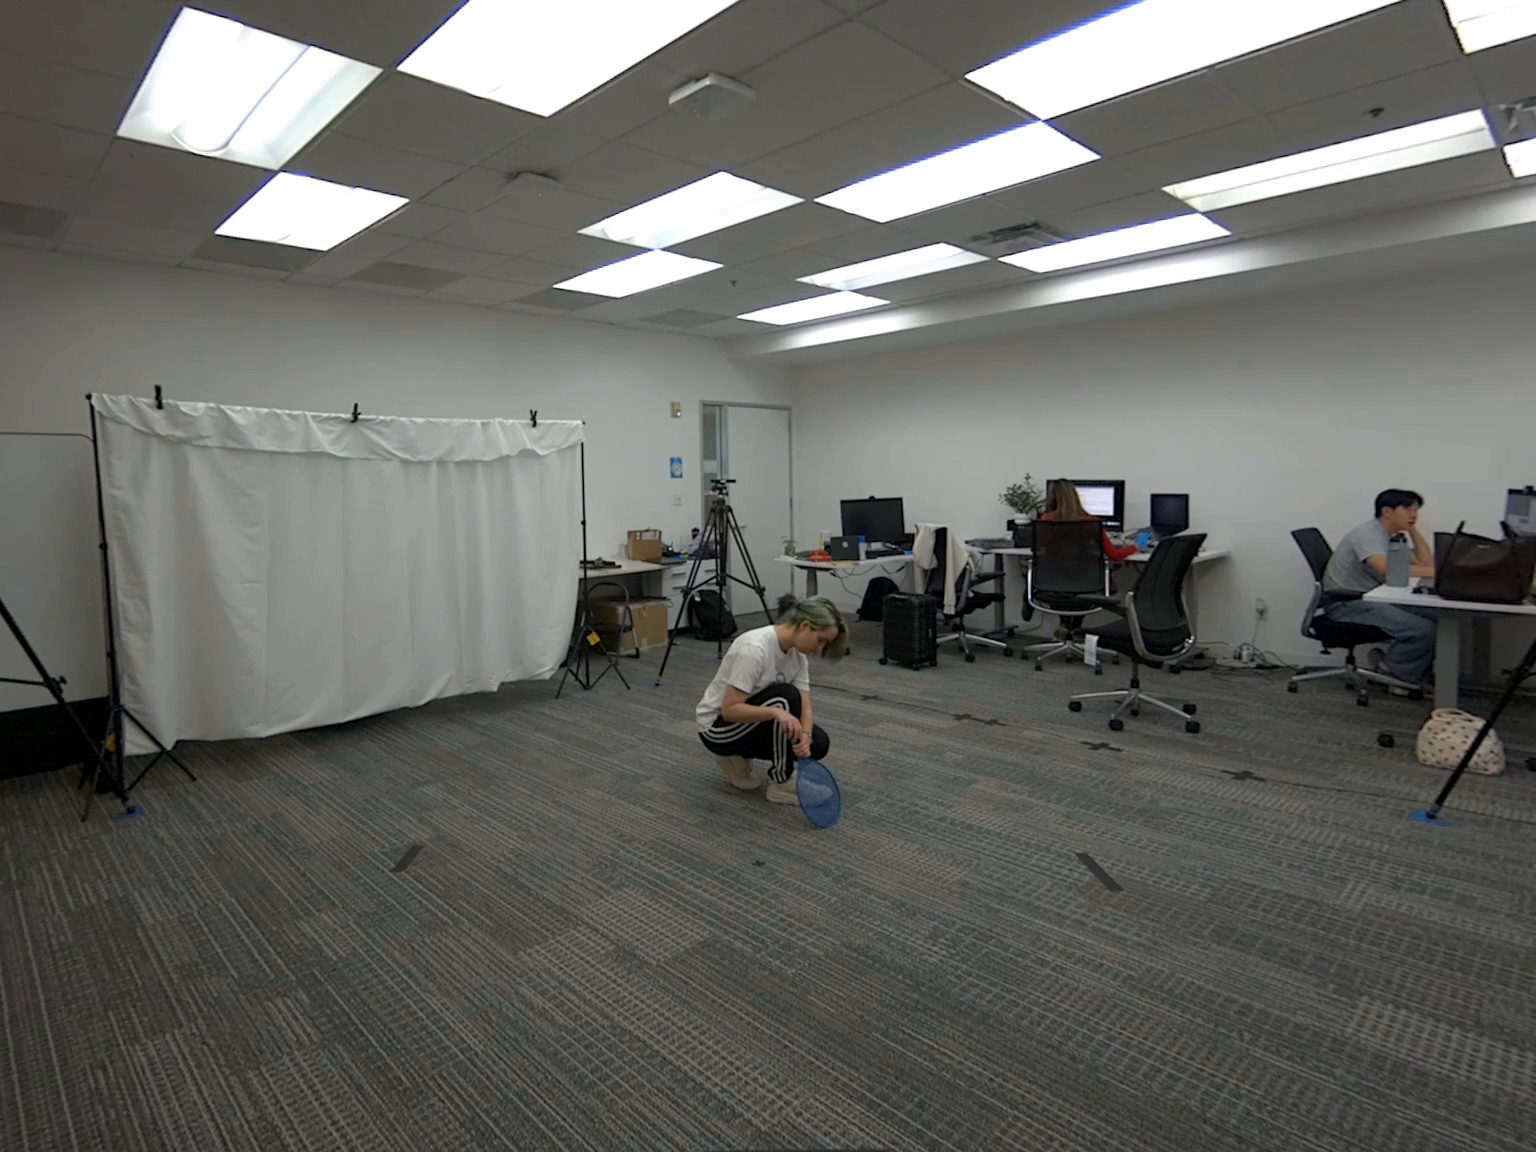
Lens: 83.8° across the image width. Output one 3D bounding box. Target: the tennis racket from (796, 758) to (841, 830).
[{"bbox_3d":[0.167,0.811,3.472,0.210,0.436,0.032,-23,-8,-42],"label":"tennis racket"}]
